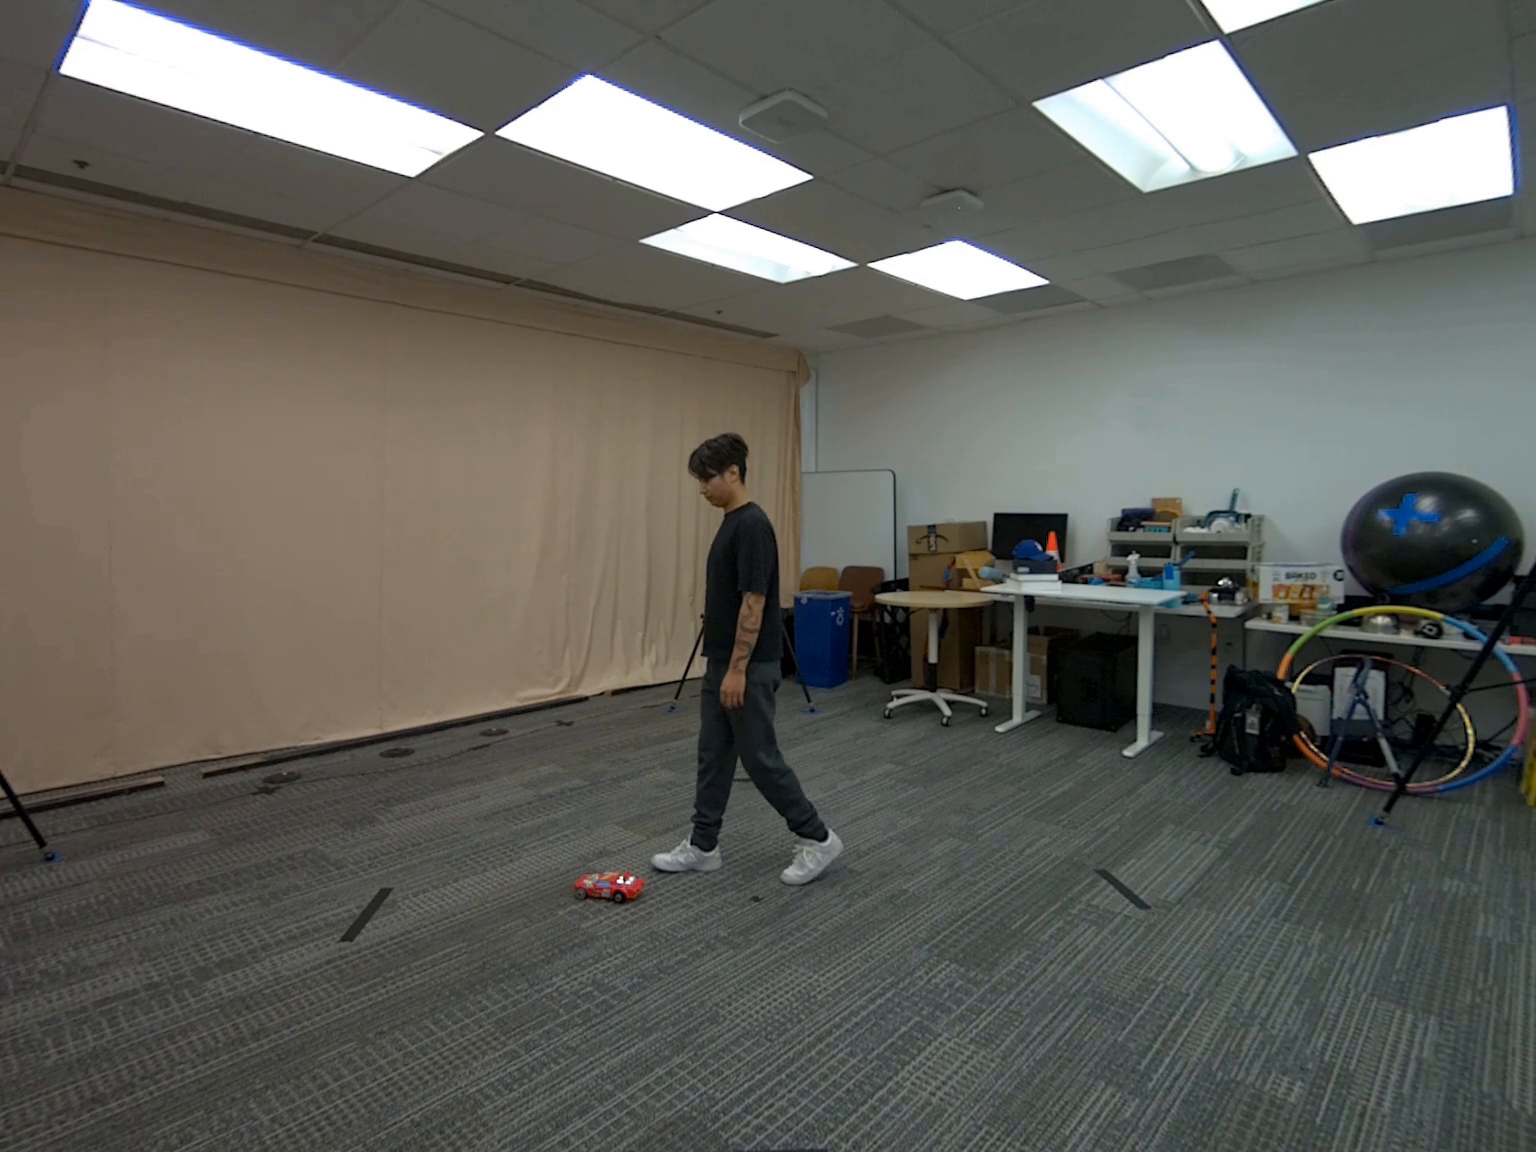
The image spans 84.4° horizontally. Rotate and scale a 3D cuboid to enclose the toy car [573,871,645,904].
[{"bbox_3d":[-0.566,1.116,3.011,0.258,0.083,0.129,-9,3,14],"label":"toy car"}]
